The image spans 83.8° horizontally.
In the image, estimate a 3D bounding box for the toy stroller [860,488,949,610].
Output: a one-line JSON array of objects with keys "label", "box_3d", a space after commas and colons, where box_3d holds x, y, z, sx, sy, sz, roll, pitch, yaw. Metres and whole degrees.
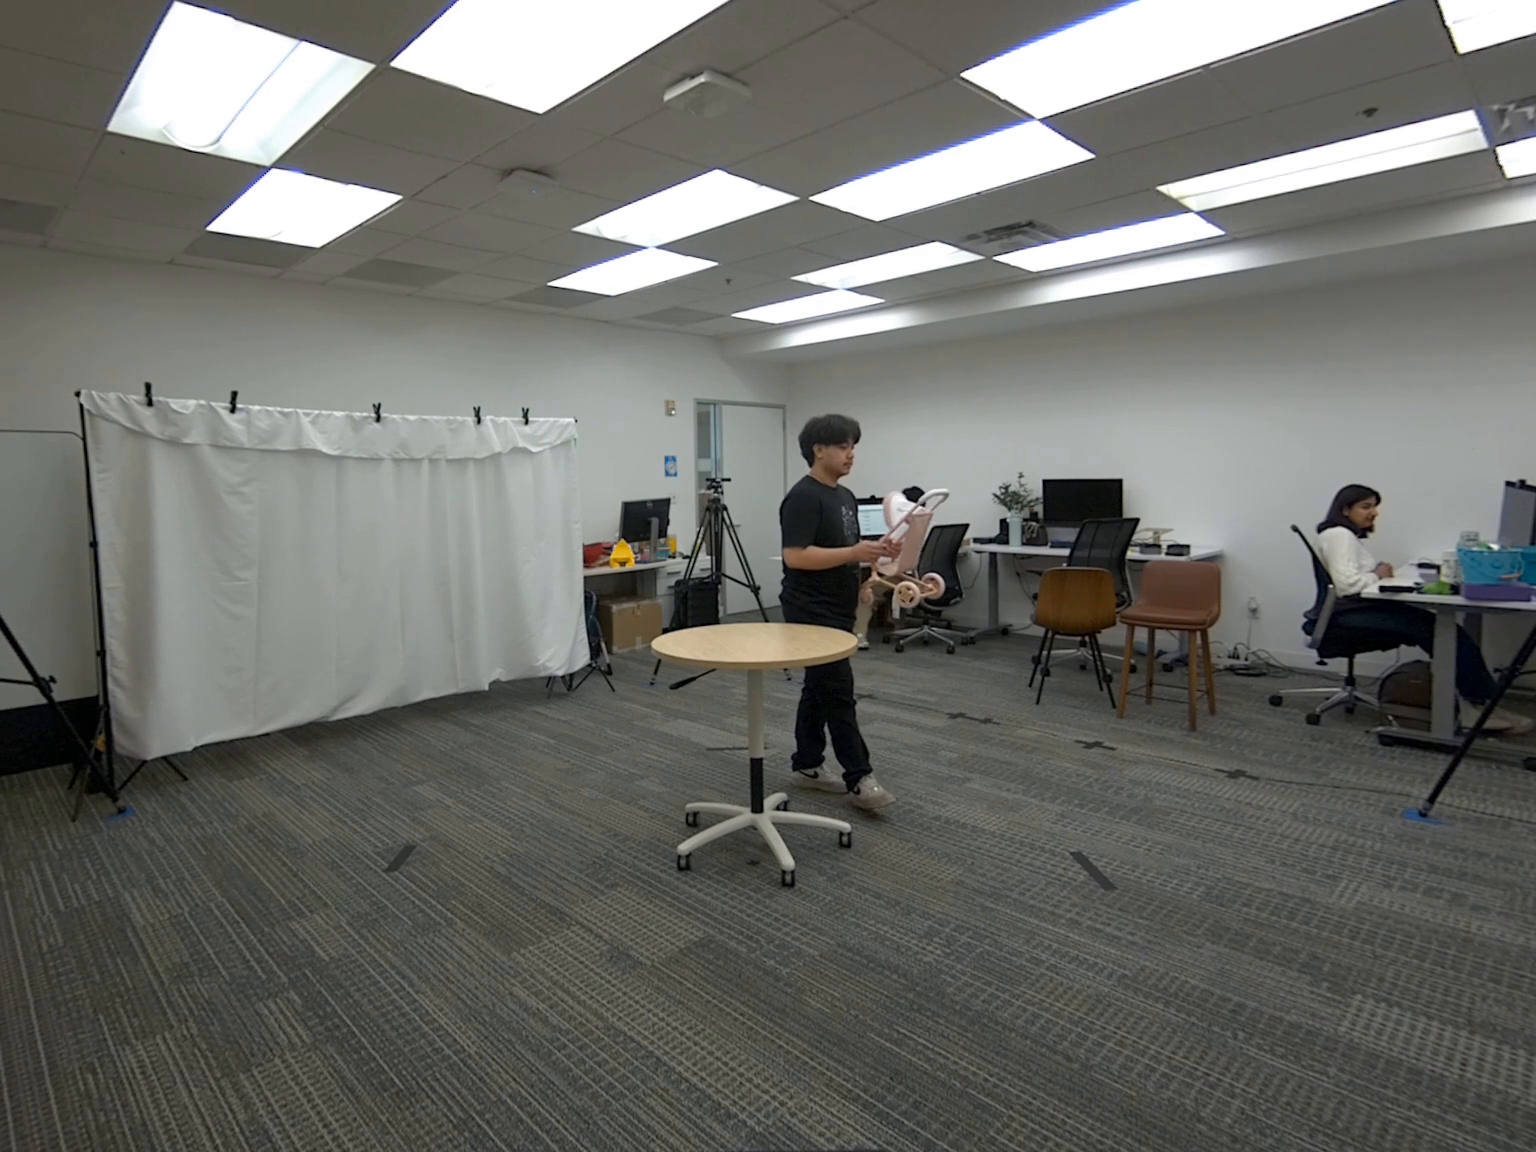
[{"label": "toy stroller", "box_3d": [0.545, -0.111, 3.559, 0.353, 0.531, 0.274, 10, 12, 40]}]
